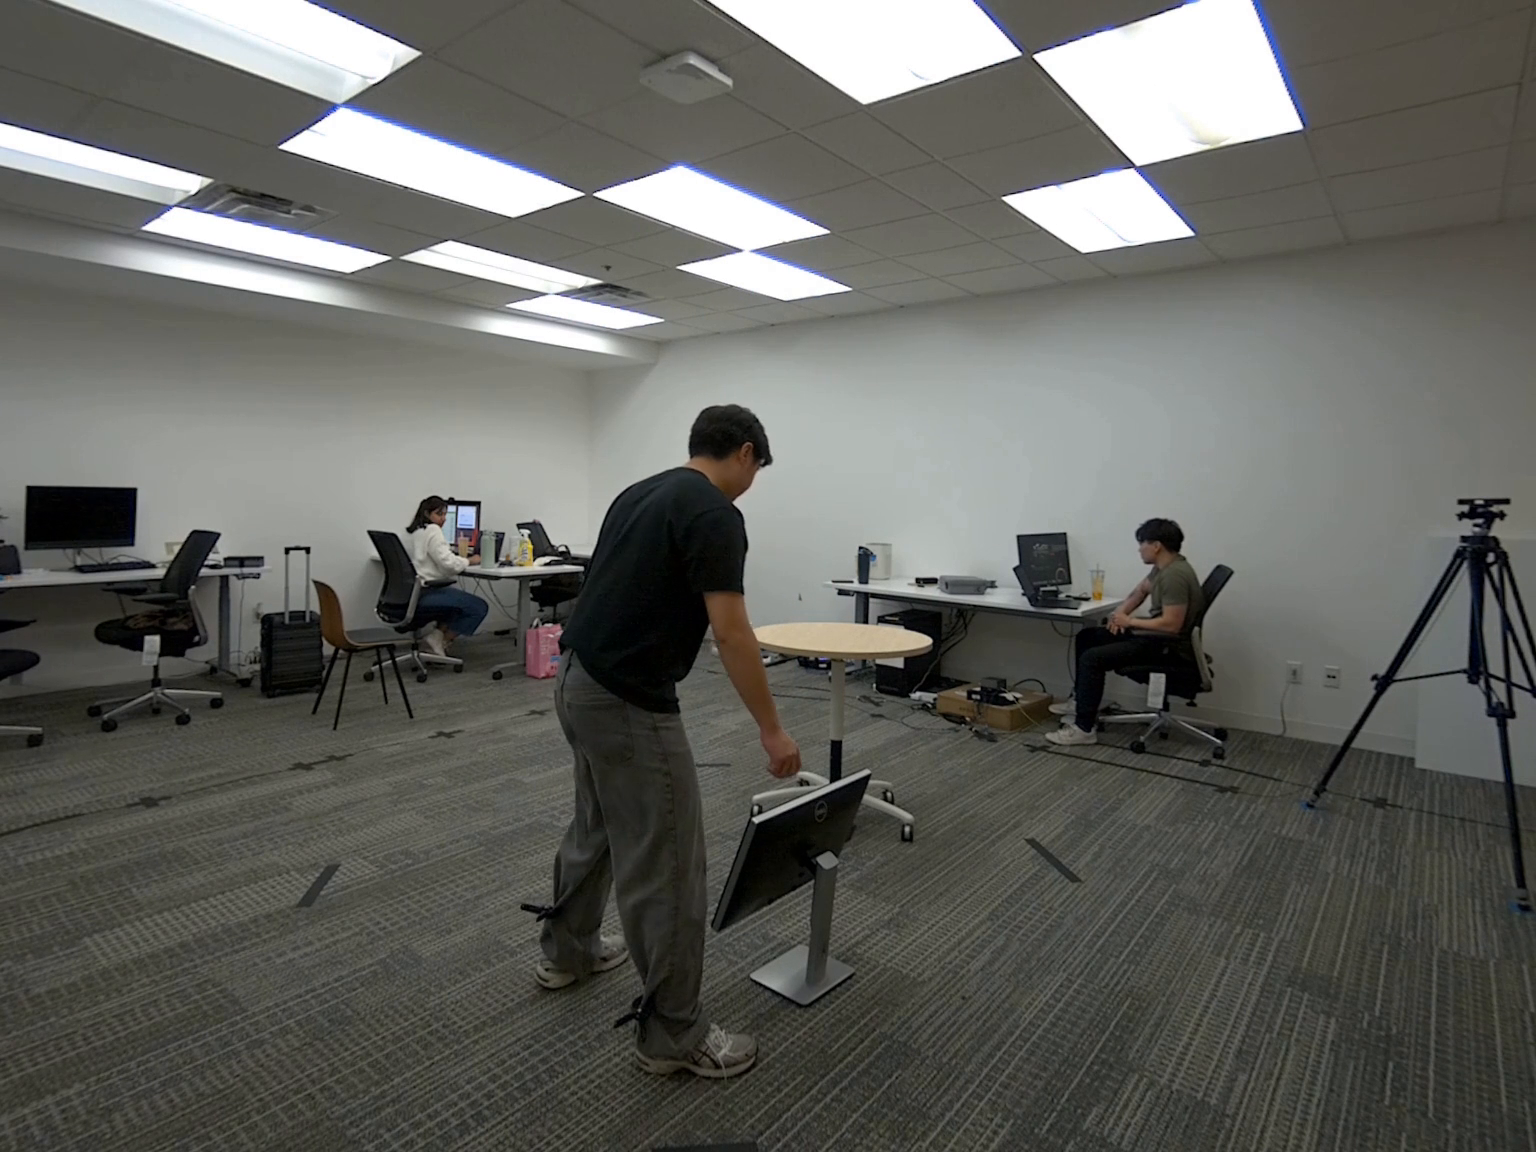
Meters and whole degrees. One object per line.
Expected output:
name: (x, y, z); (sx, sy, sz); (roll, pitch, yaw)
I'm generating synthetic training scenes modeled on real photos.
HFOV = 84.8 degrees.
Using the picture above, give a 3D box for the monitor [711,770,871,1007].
monitor: (0.096, 0.879, 2.416); (0.230, 0.564, 0.545); (6, 6, 41)
